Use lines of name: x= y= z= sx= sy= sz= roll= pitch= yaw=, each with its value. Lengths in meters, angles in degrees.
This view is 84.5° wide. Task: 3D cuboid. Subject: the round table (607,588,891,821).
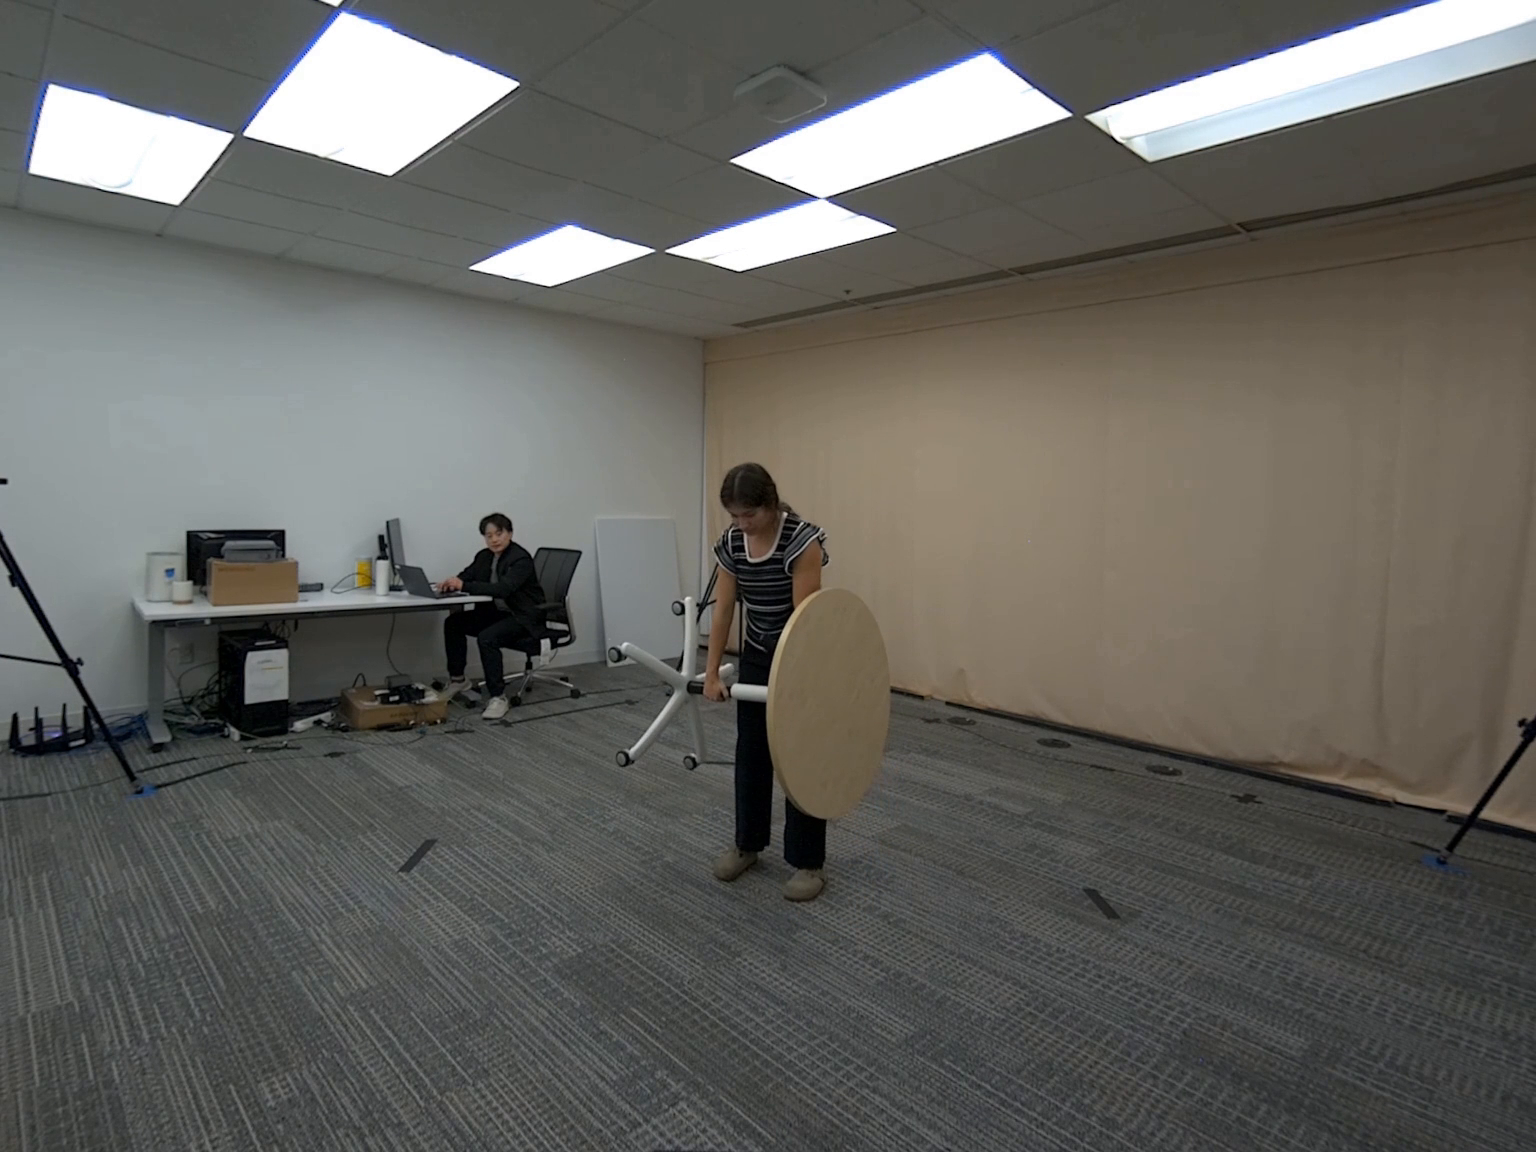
round table: x=-0.094 y=0.442 z=3.088 sx=0.811 sy=0.764 sz=0.747 roll=-2 pitch=1 yaw=37
